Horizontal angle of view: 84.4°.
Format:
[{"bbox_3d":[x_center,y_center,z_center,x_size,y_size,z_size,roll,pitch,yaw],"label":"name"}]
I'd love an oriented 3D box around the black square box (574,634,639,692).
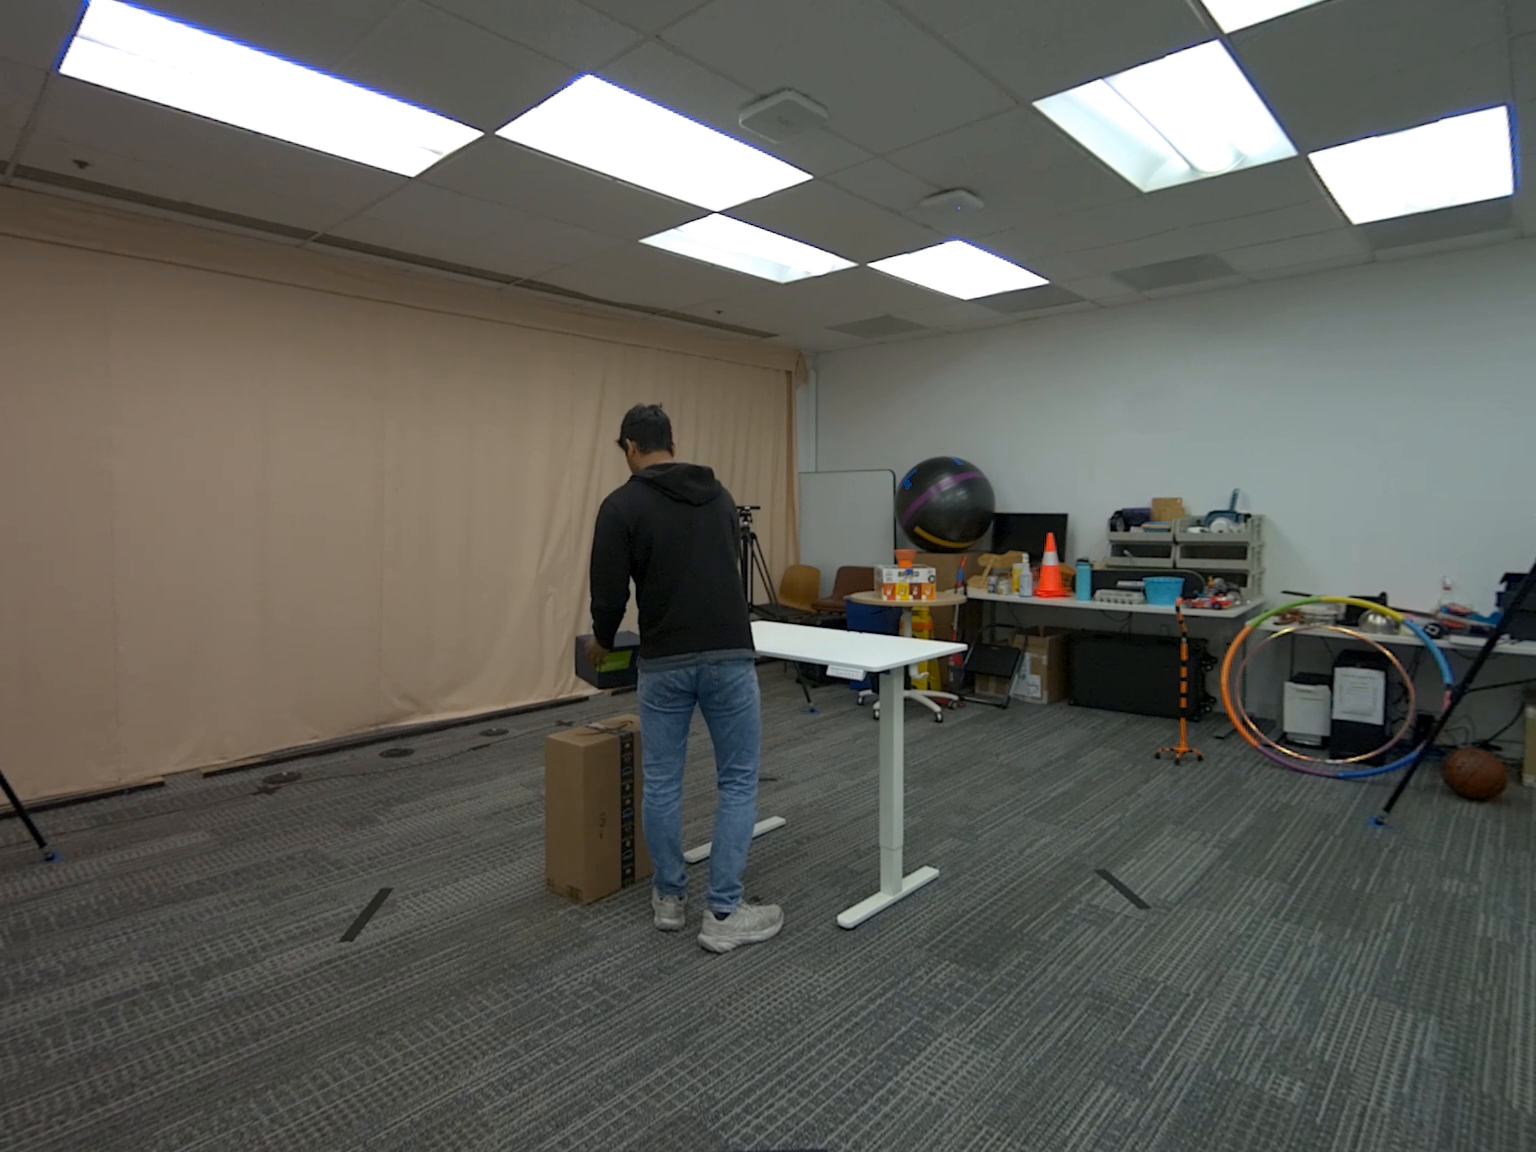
[{"bbox_3d":[-0.566,0.307,3.161,0.221,0.155,0.224,-2,10,-35],"label":"black square box"}]
